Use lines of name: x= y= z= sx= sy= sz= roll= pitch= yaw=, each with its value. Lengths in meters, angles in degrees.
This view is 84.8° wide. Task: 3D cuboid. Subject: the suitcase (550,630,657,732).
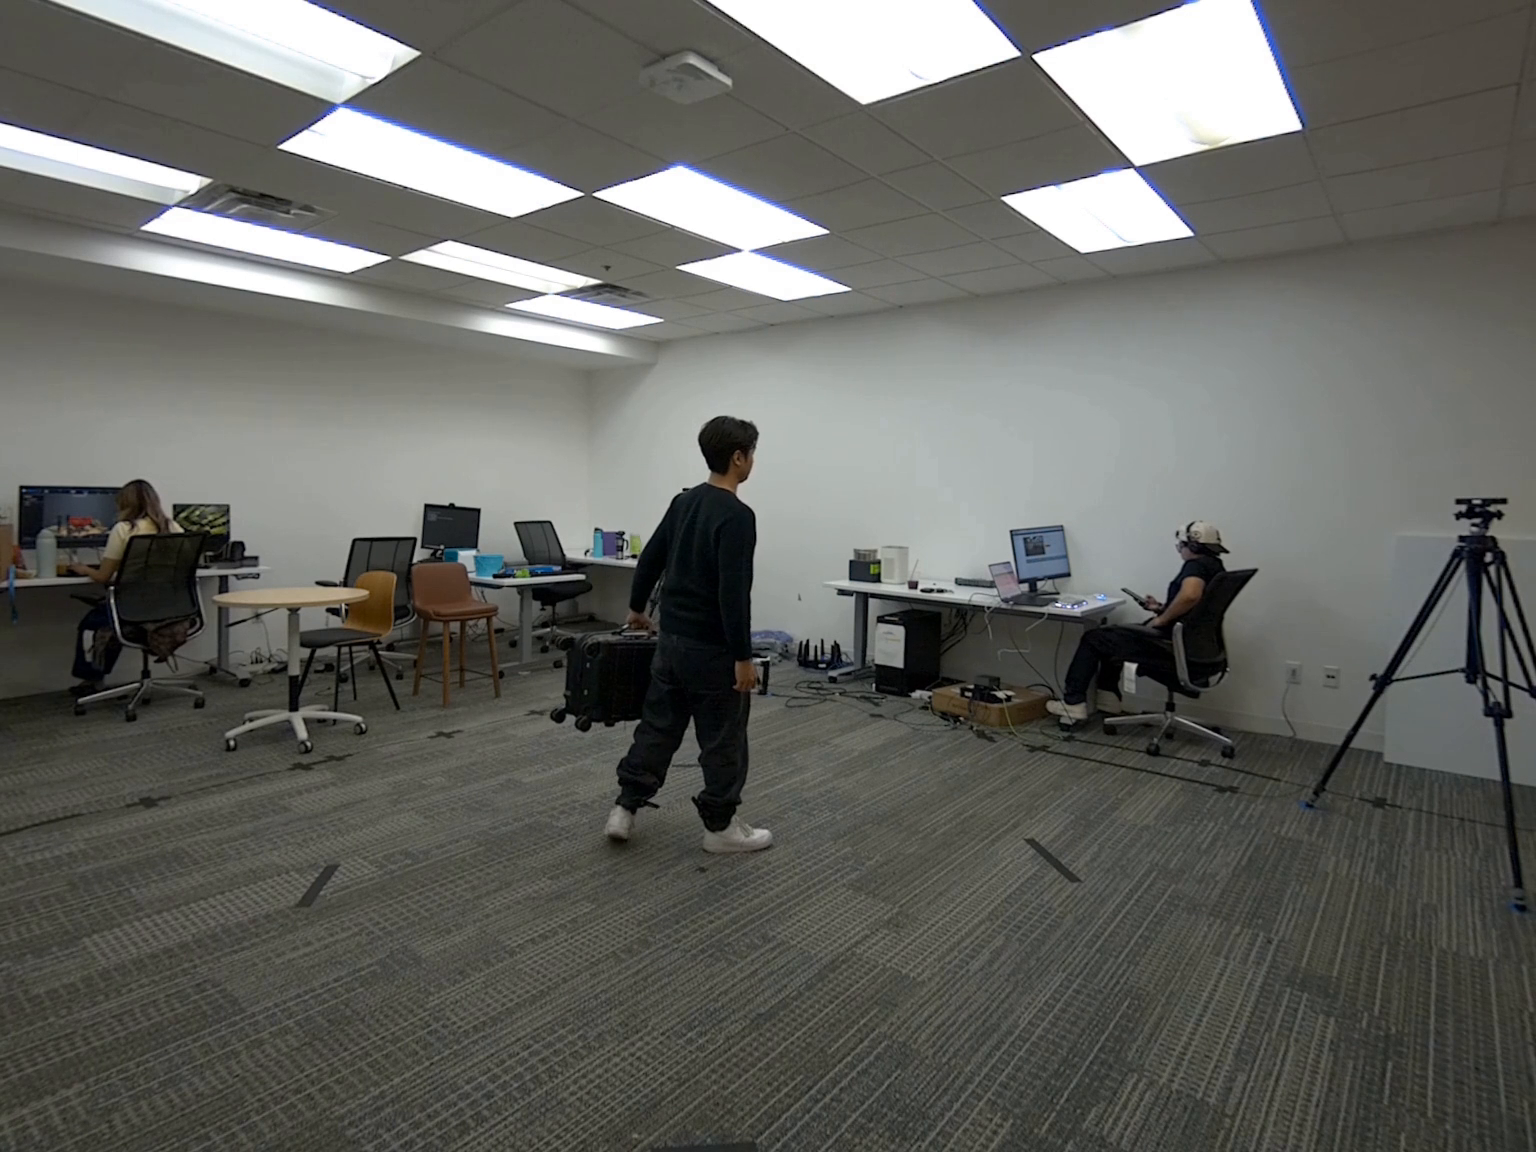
suitcase: x=-0.450 y=0.427 z=3.671 sx=0.946 sy=0.385 sz=0.265 roll=4 pitch=-2 yaw=-41
